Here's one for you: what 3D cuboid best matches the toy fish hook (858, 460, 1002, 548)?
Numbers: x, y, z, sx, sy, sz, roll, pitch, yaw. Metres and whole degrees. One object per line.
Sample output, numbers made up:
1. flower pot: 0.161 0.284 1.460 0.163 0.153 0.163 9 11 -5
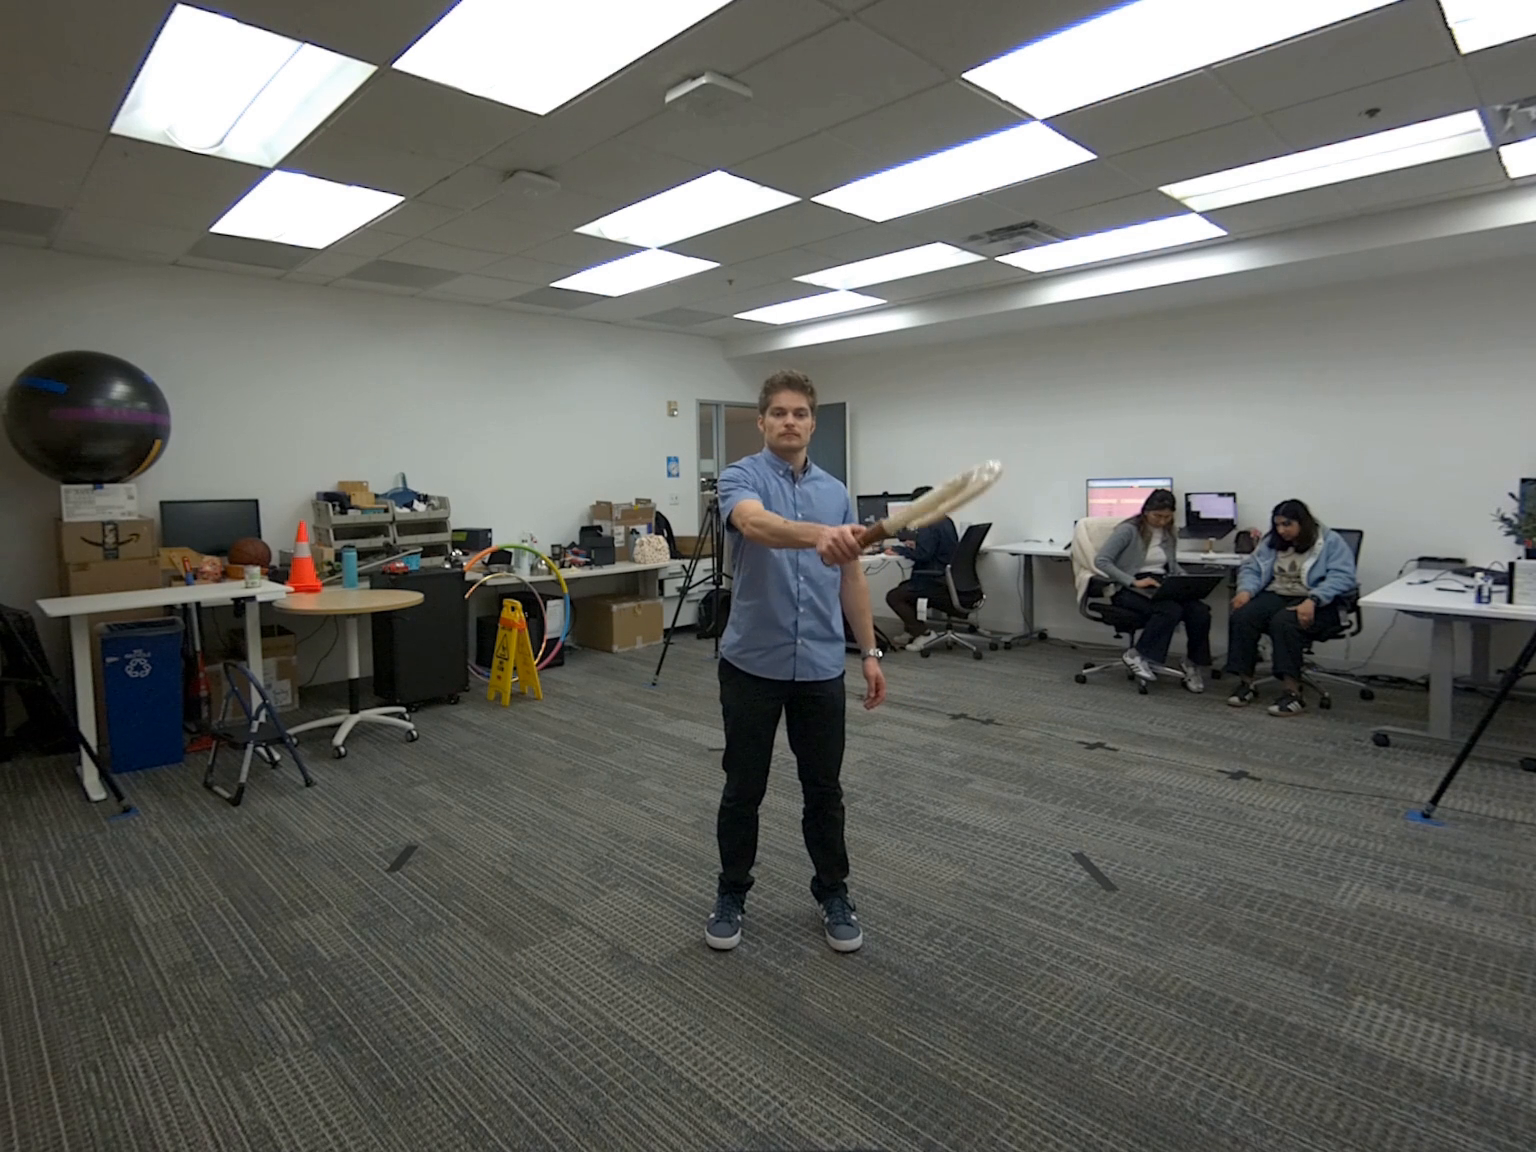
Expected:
1. toy fish hook: 0.297 -0.117 1.896 0.511 0.048 0.223 -32 5 37
